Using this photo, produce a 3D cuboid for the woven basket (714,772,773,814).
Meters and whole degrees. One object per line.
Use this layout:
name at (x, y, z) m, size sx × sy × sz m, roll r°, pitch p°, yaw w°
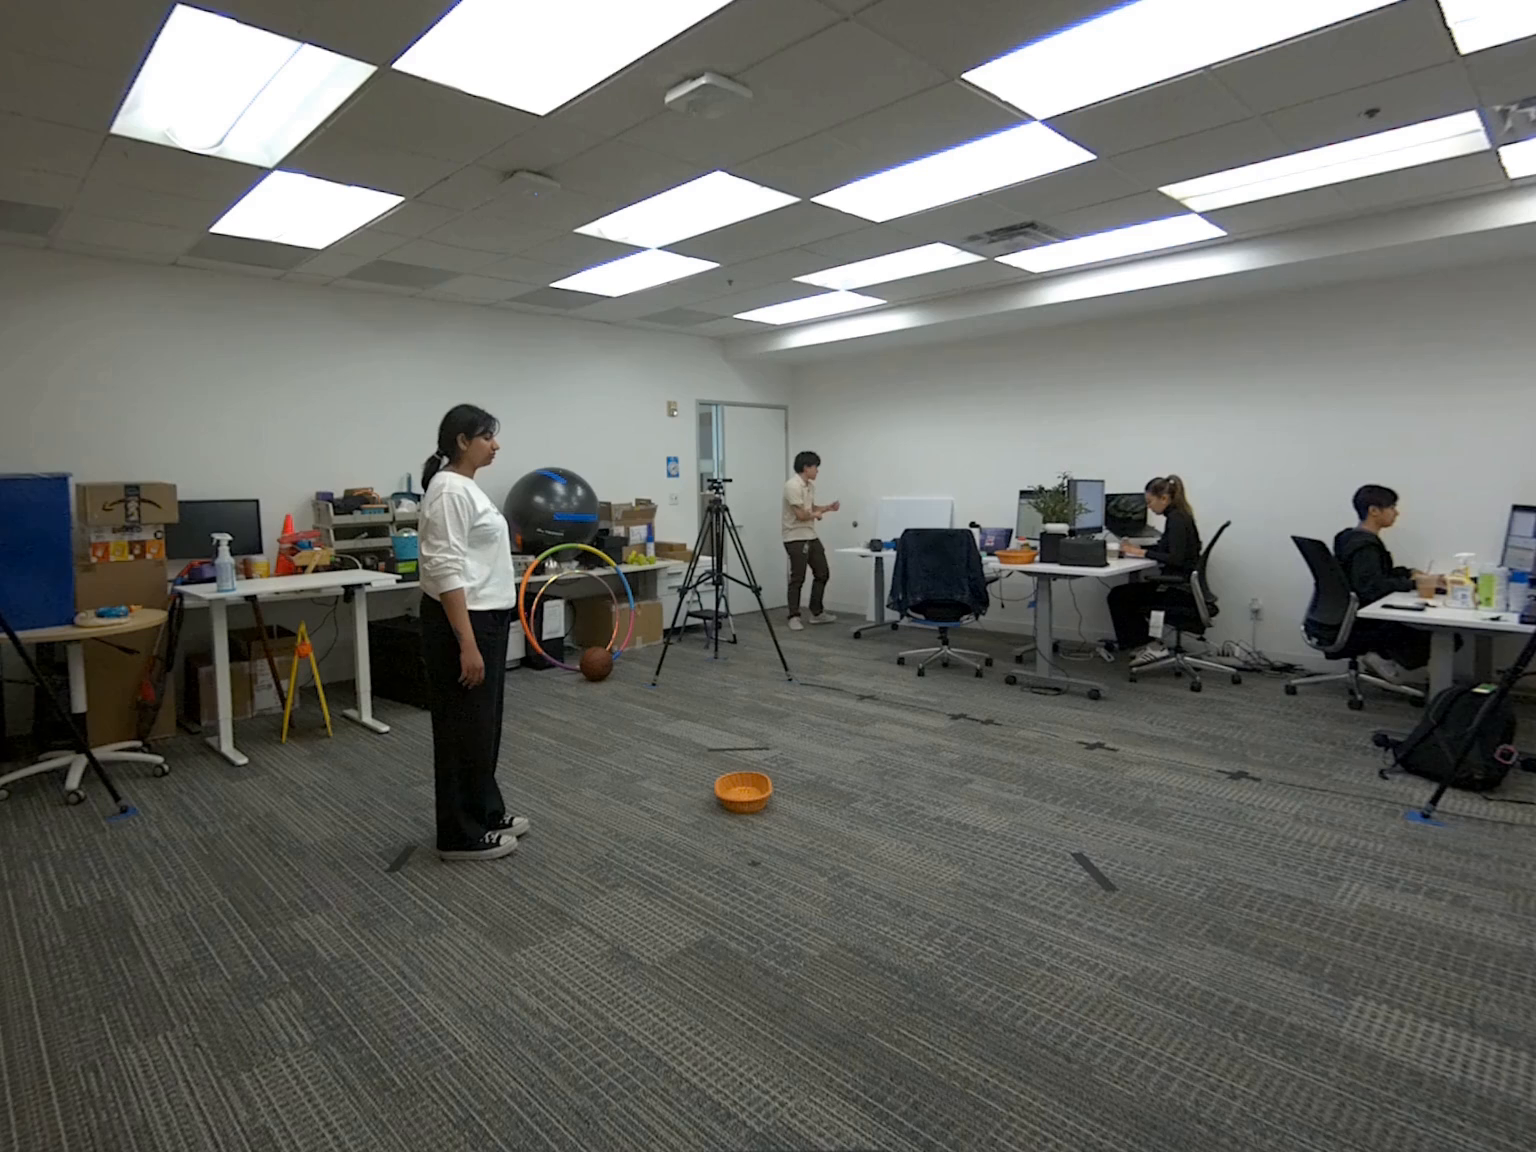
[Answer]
woven basket at (-0.104, 0.939, 3.712) m, size 0.253 × 0.073 × 0.352 m, roll -3°, pitch 7°, yaw 1°
